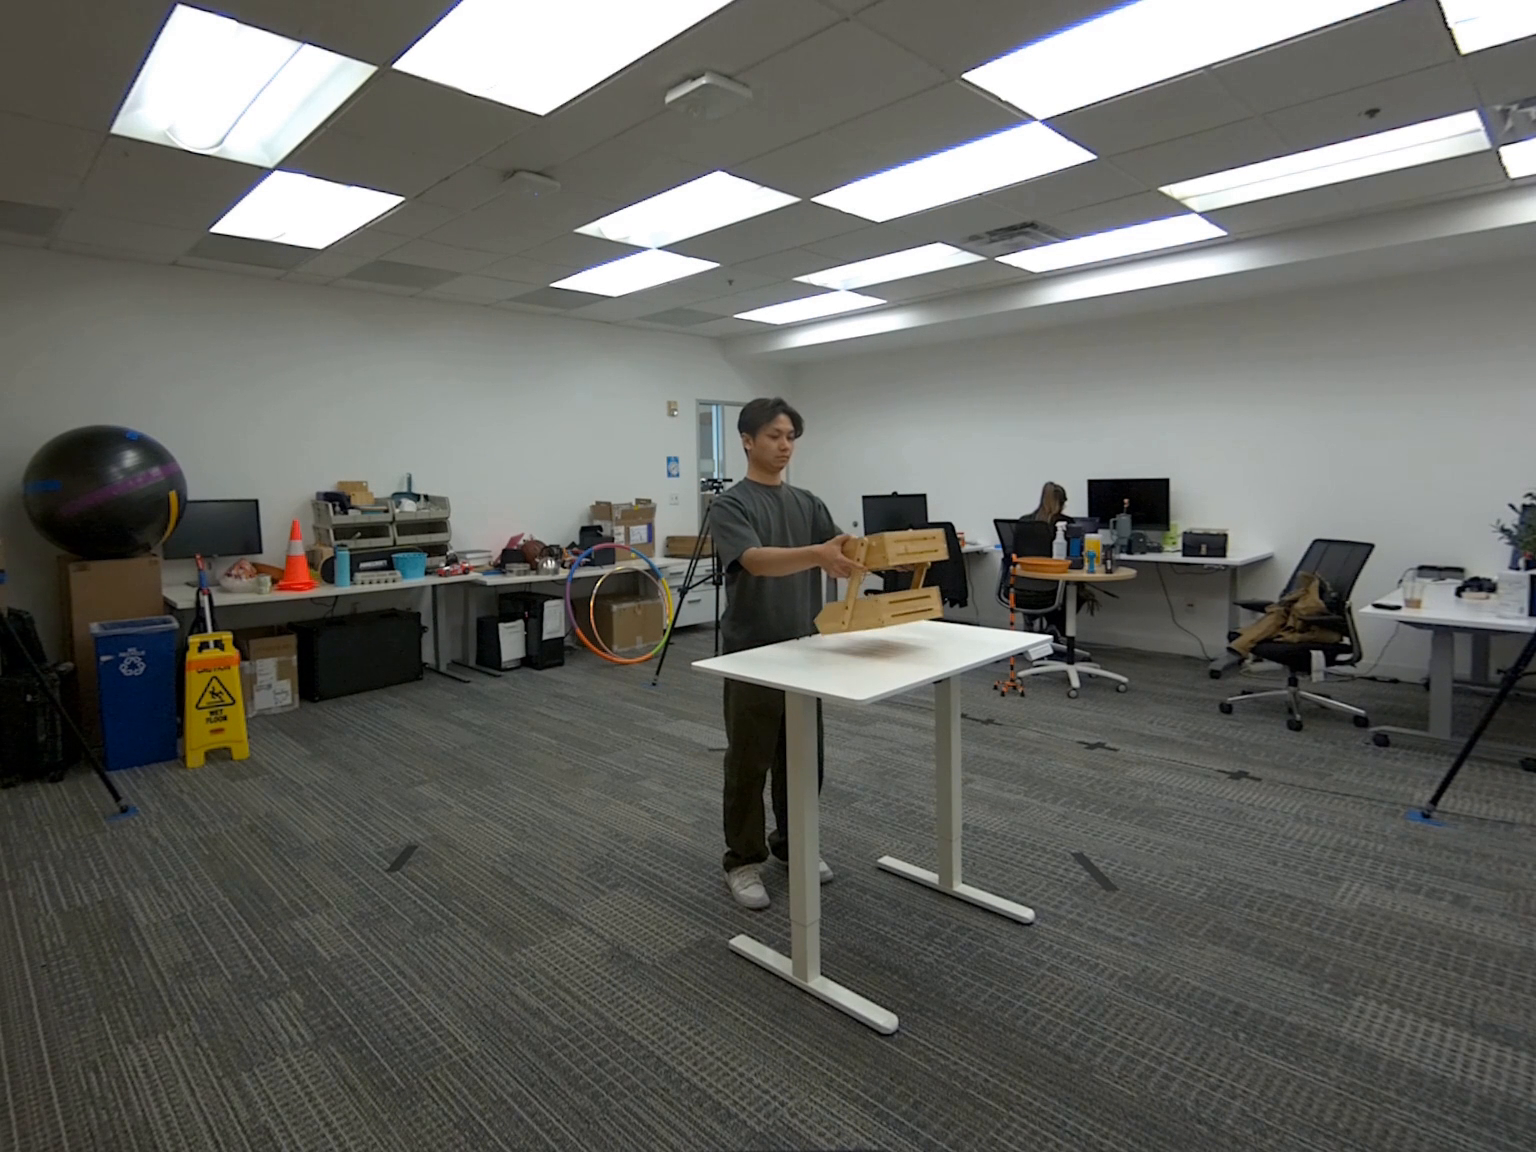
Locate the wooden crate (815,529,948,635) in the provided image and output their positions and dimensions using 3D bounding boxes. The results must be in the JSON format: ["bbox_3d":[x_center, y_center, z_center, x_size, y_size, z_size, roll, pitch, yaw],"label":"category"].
[{"bbox_3d":[0.333,0.013,2.553,0.316,0.274,0.309,-5,-4,-43],"label":"wooden crate"}]
